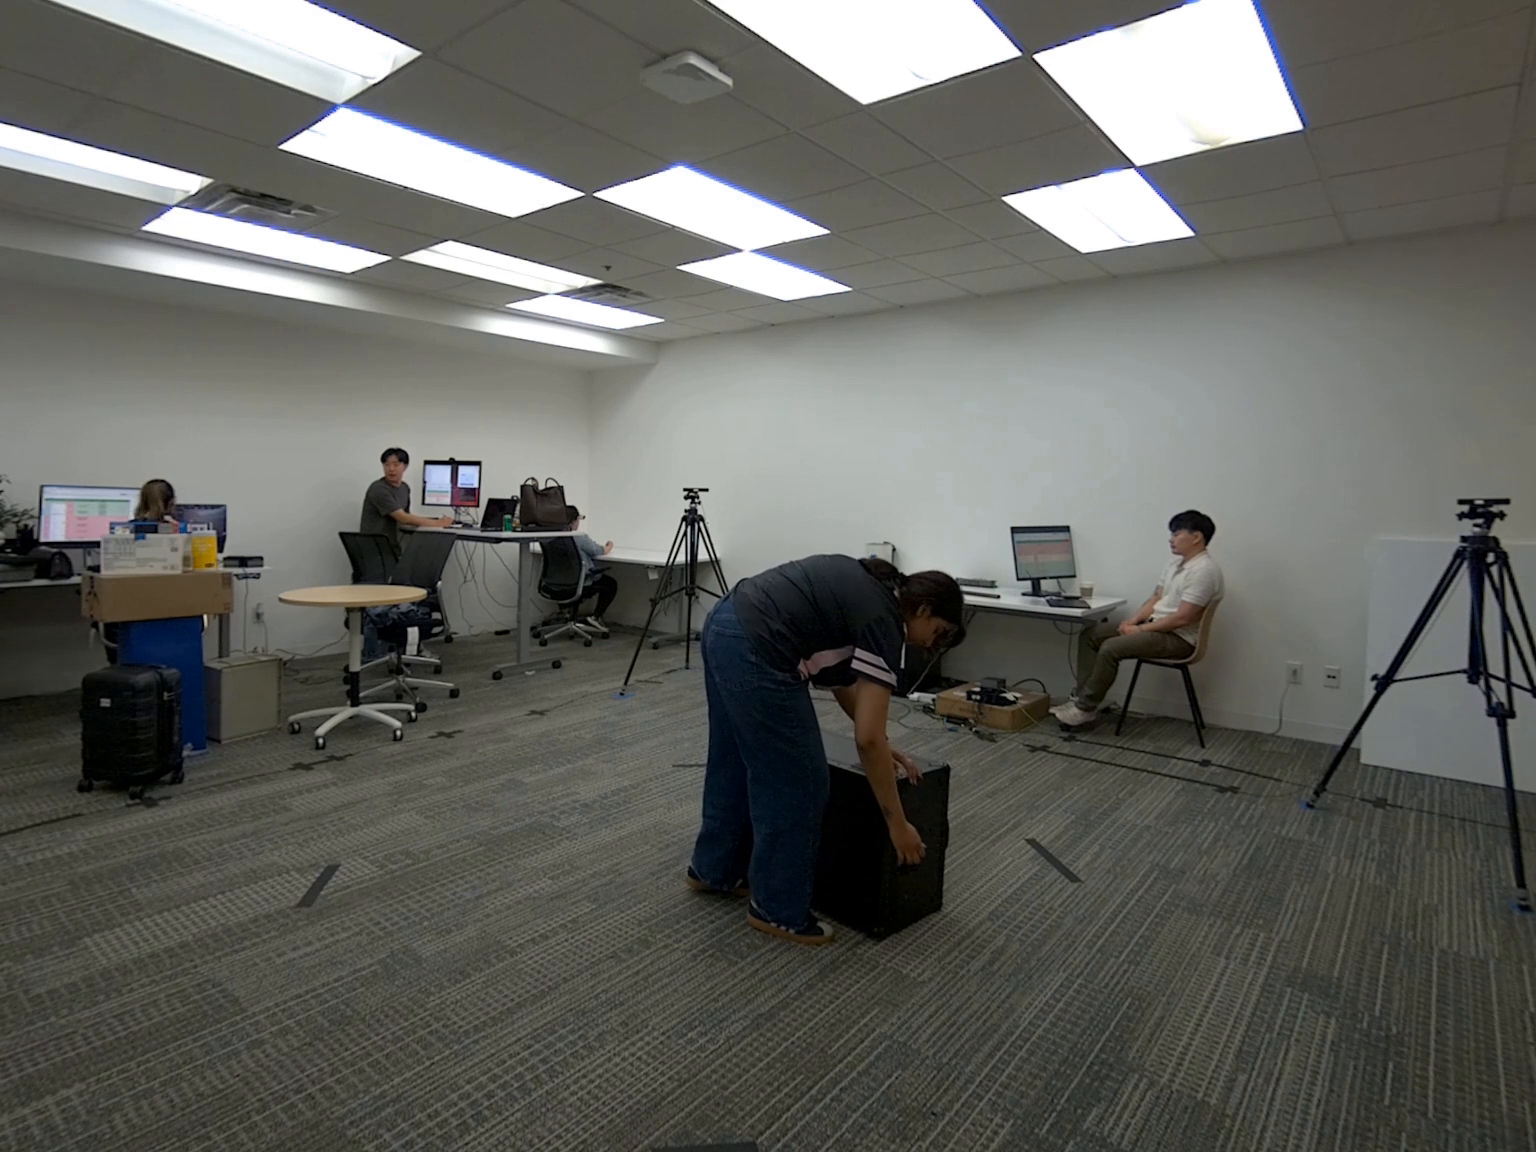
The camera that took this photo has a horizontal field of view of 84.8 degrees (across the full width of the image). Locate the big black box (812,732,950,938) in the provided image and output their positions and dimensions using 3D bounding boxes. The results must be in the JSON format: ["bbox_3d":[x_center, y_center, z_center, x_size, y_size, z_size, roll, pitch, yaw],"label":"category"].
[{"bbox_3d":[0.171,0.824,3.049,0.373,0.522,0.899,-1,6,-45],"label":"big black box"}]
